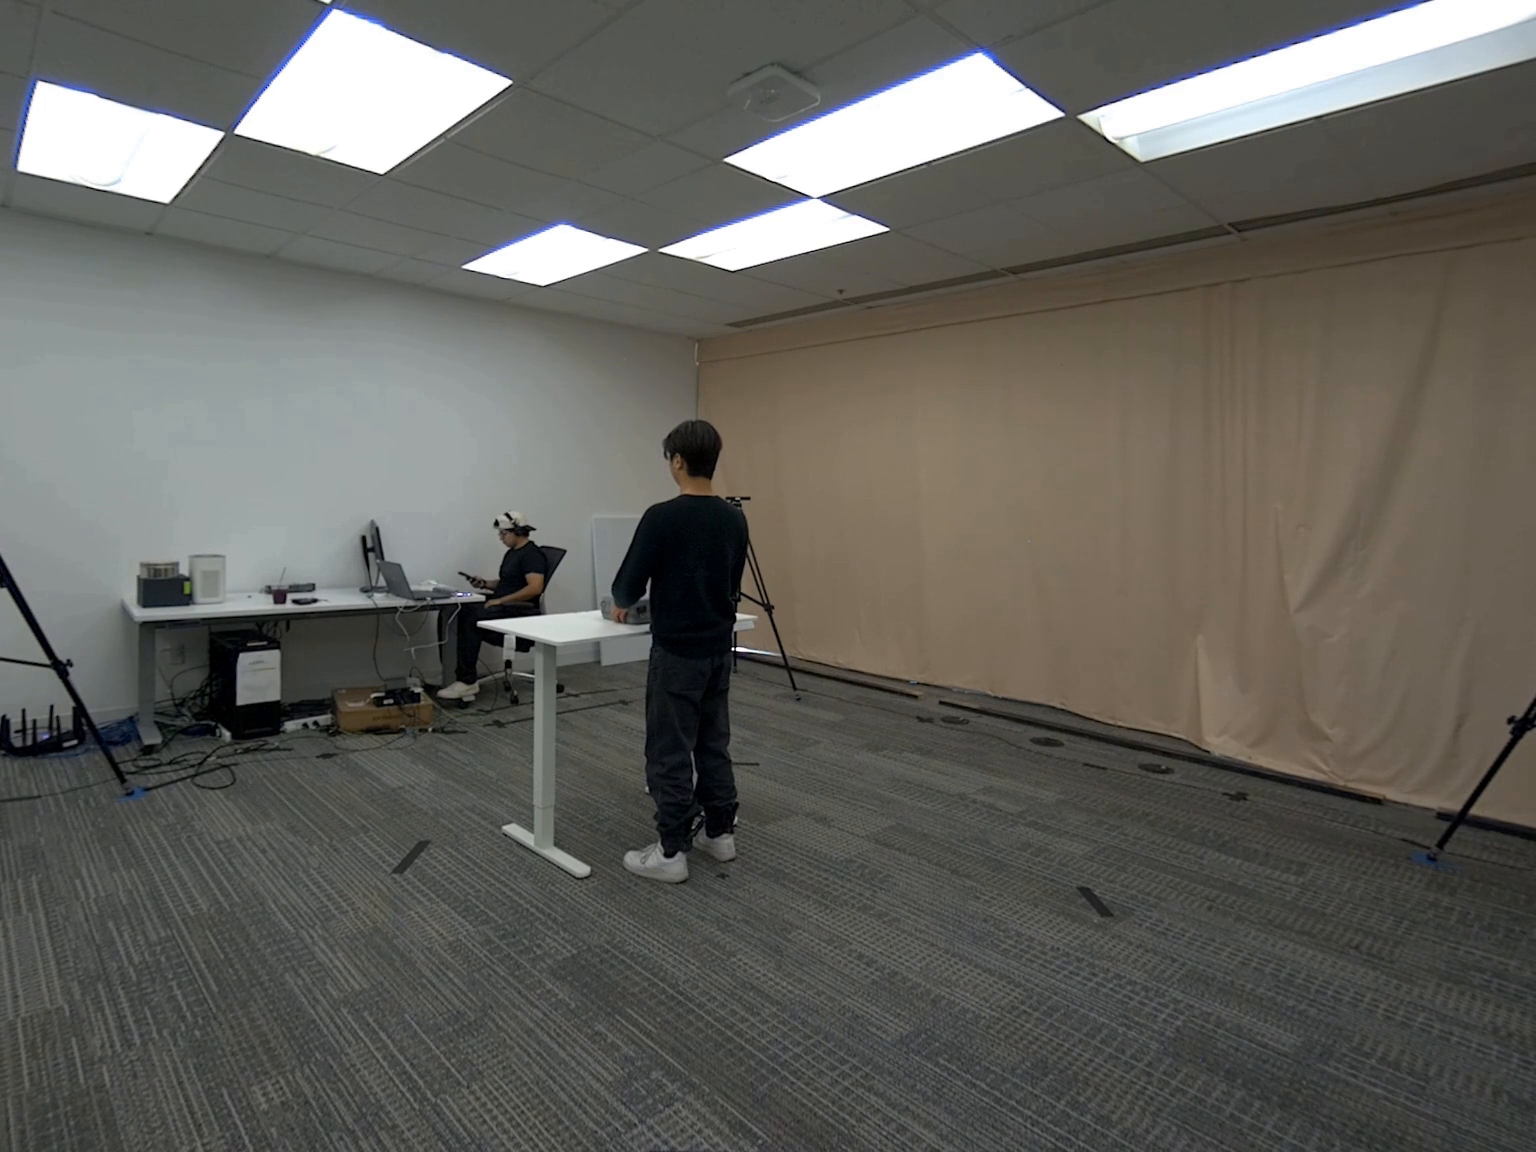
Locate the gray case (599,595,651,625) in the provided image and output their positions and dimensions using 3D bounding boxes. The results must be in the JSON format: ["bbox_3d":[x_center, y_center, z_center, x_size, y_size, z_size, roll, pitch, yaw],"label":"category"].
[{"bbox_3d":[-0.532,0.126,3.497,0.267,0.104,0.251,5,9,44],"label":"gray case"}]
